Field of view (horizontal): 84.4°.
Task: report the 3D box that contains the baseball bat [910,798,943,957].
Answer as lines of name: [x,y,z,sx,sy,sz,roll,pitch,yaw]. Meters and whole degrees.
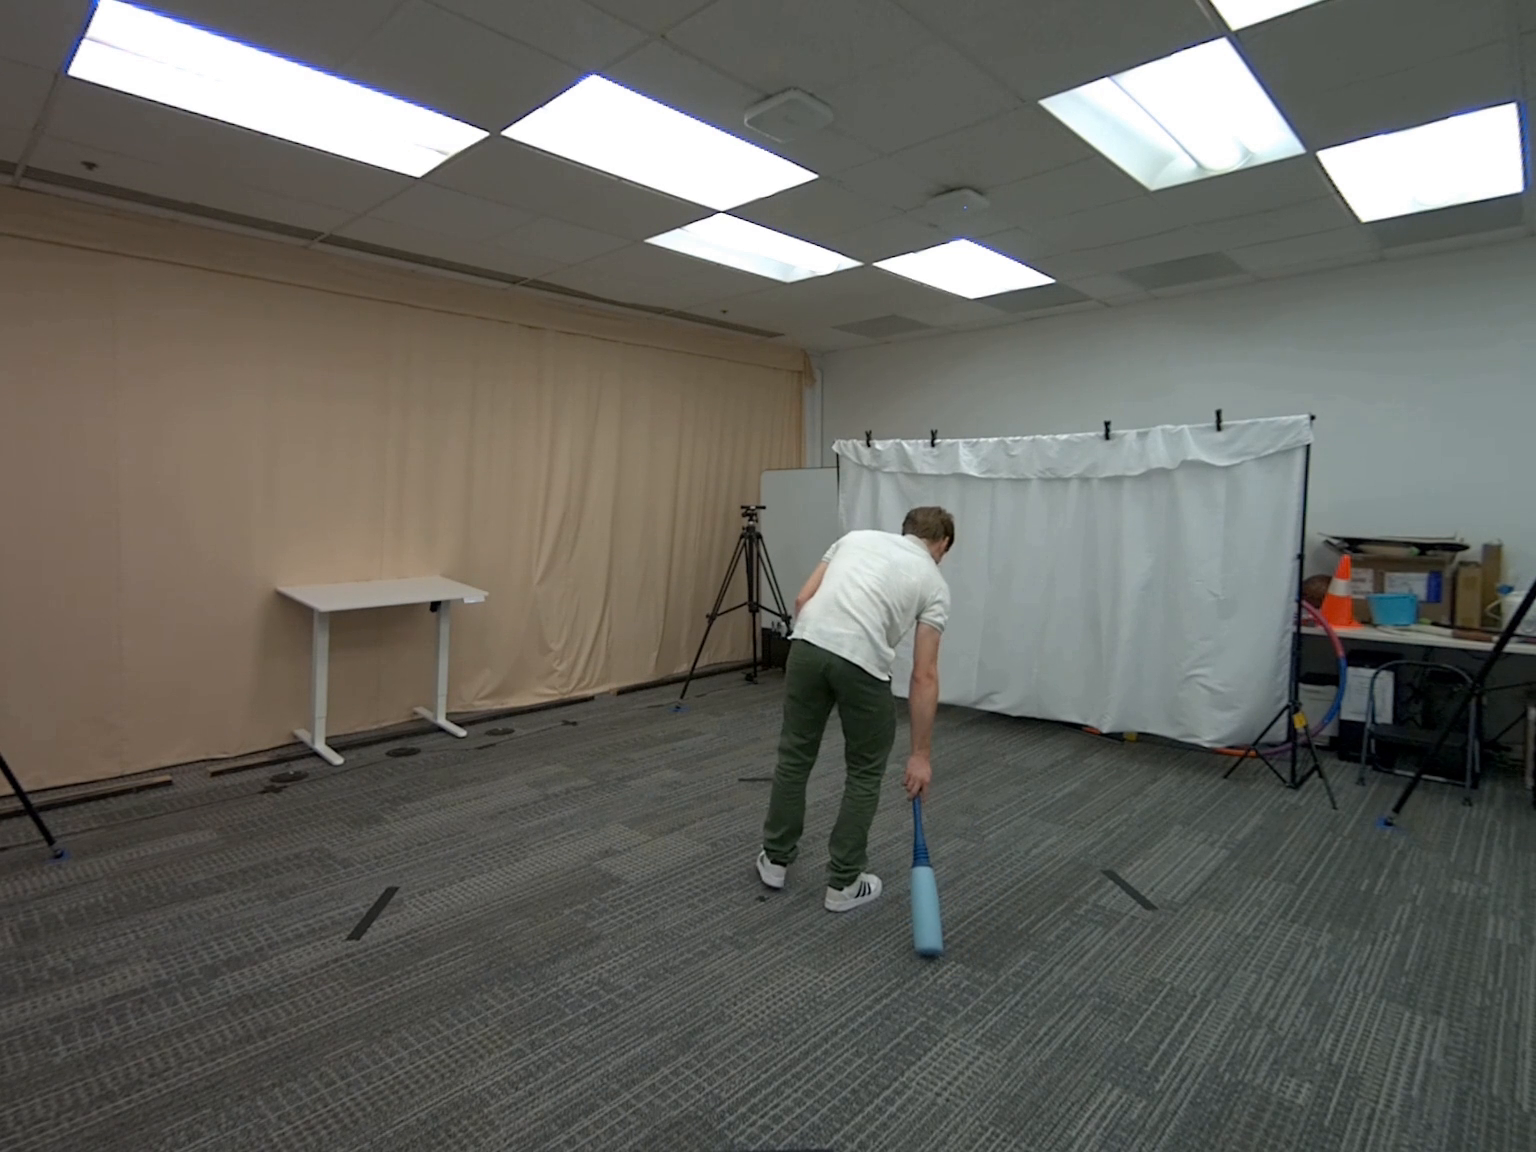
baseball bat: [0.510,0.934,2.736,0.089,0.551,0.087,3,-36,0]
